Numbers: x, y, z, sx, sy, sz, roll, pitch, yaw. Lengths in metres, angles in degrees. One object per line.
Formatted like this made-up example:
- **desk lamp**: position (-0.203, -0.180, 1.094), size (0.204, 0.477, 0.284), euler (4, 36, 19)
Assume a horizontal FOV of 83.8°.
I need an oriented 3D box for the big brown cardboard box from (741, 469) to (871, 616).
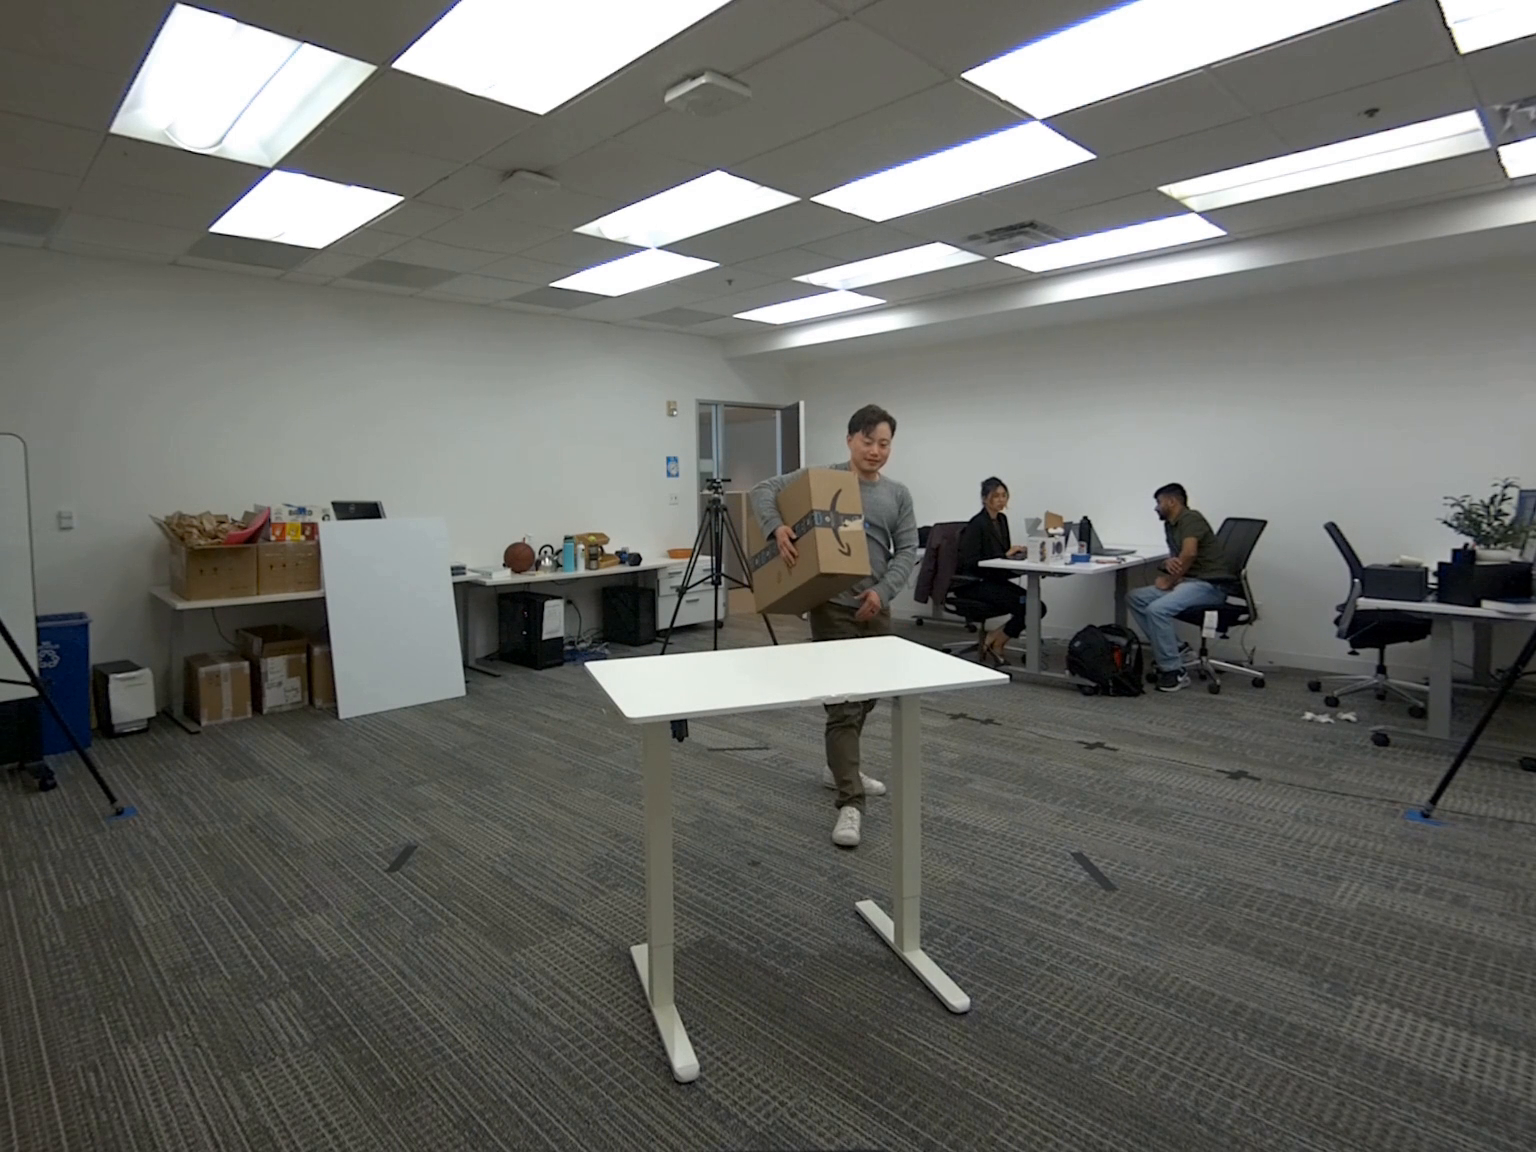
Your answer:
- **big brown cardboard box**: position (0.136, -0.121, 3.370), size (0.228, 0.425, 0.592), euler (4, -19, -25)
